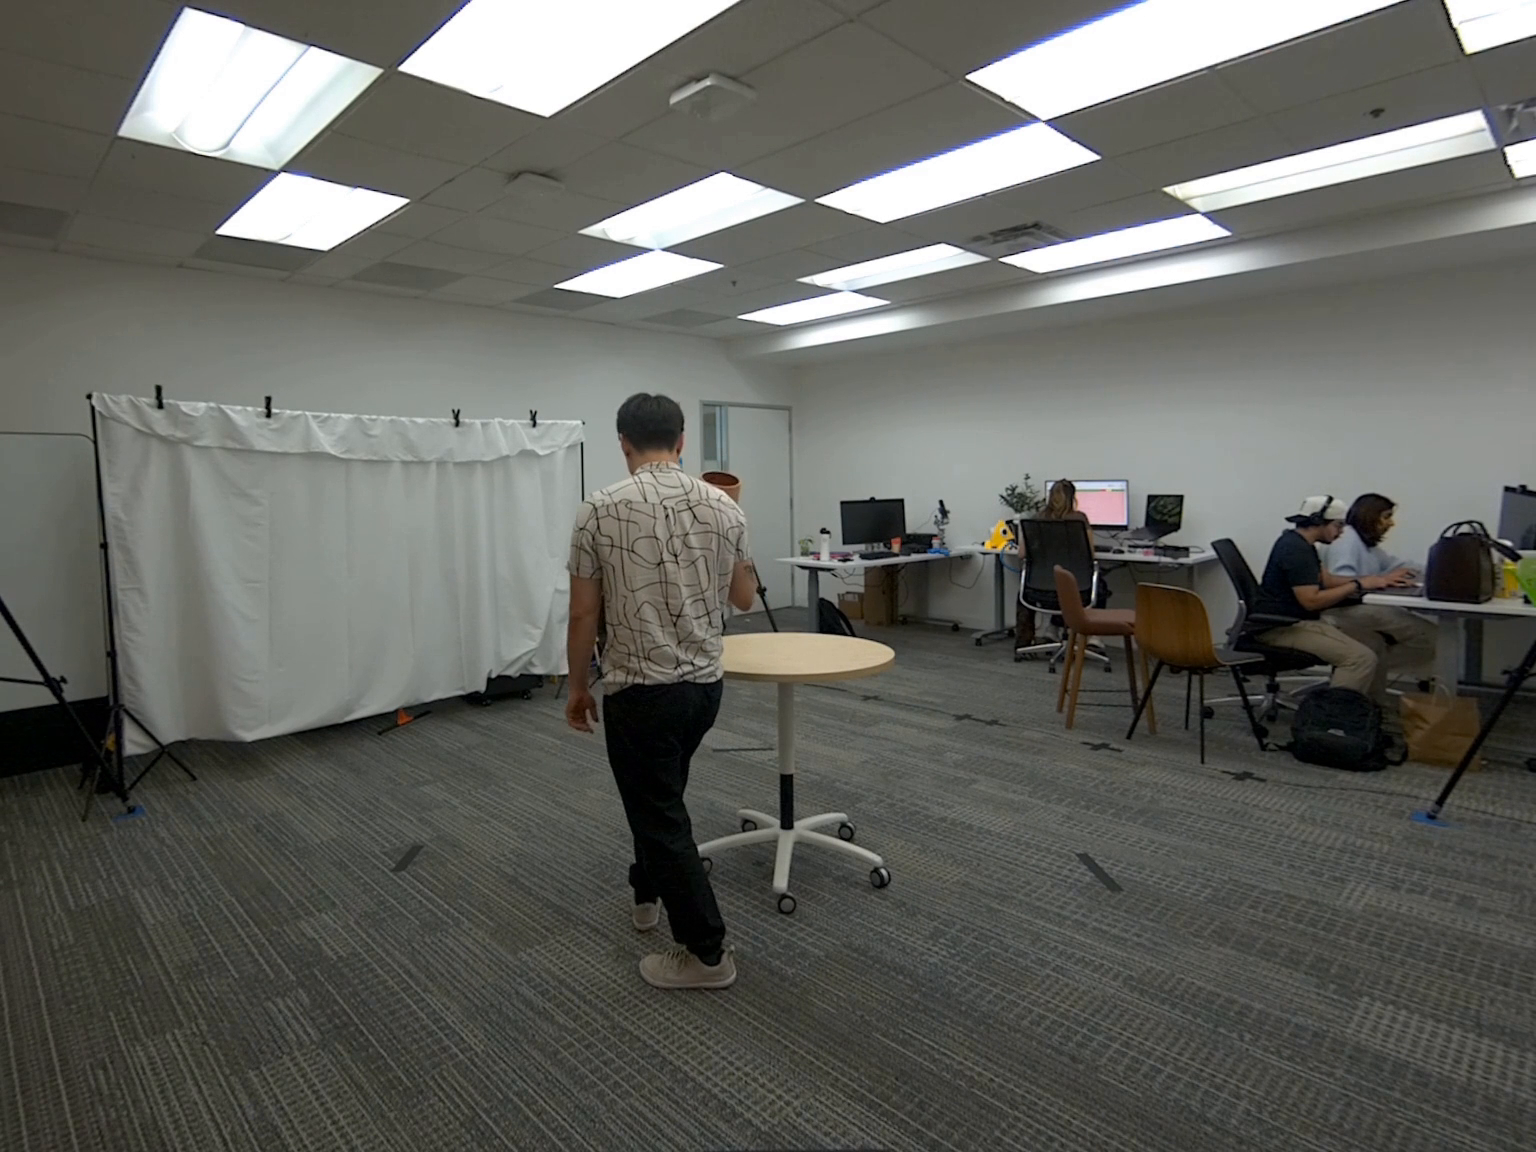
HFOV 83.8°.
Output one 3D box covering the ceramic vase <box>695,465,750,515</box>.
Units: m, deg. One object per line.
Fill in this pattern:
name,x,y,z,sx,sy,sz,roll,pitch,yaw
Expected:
ceramic vase,-0.166,-0.208,2.711,0.137,0.216,0.158,18,28,17
